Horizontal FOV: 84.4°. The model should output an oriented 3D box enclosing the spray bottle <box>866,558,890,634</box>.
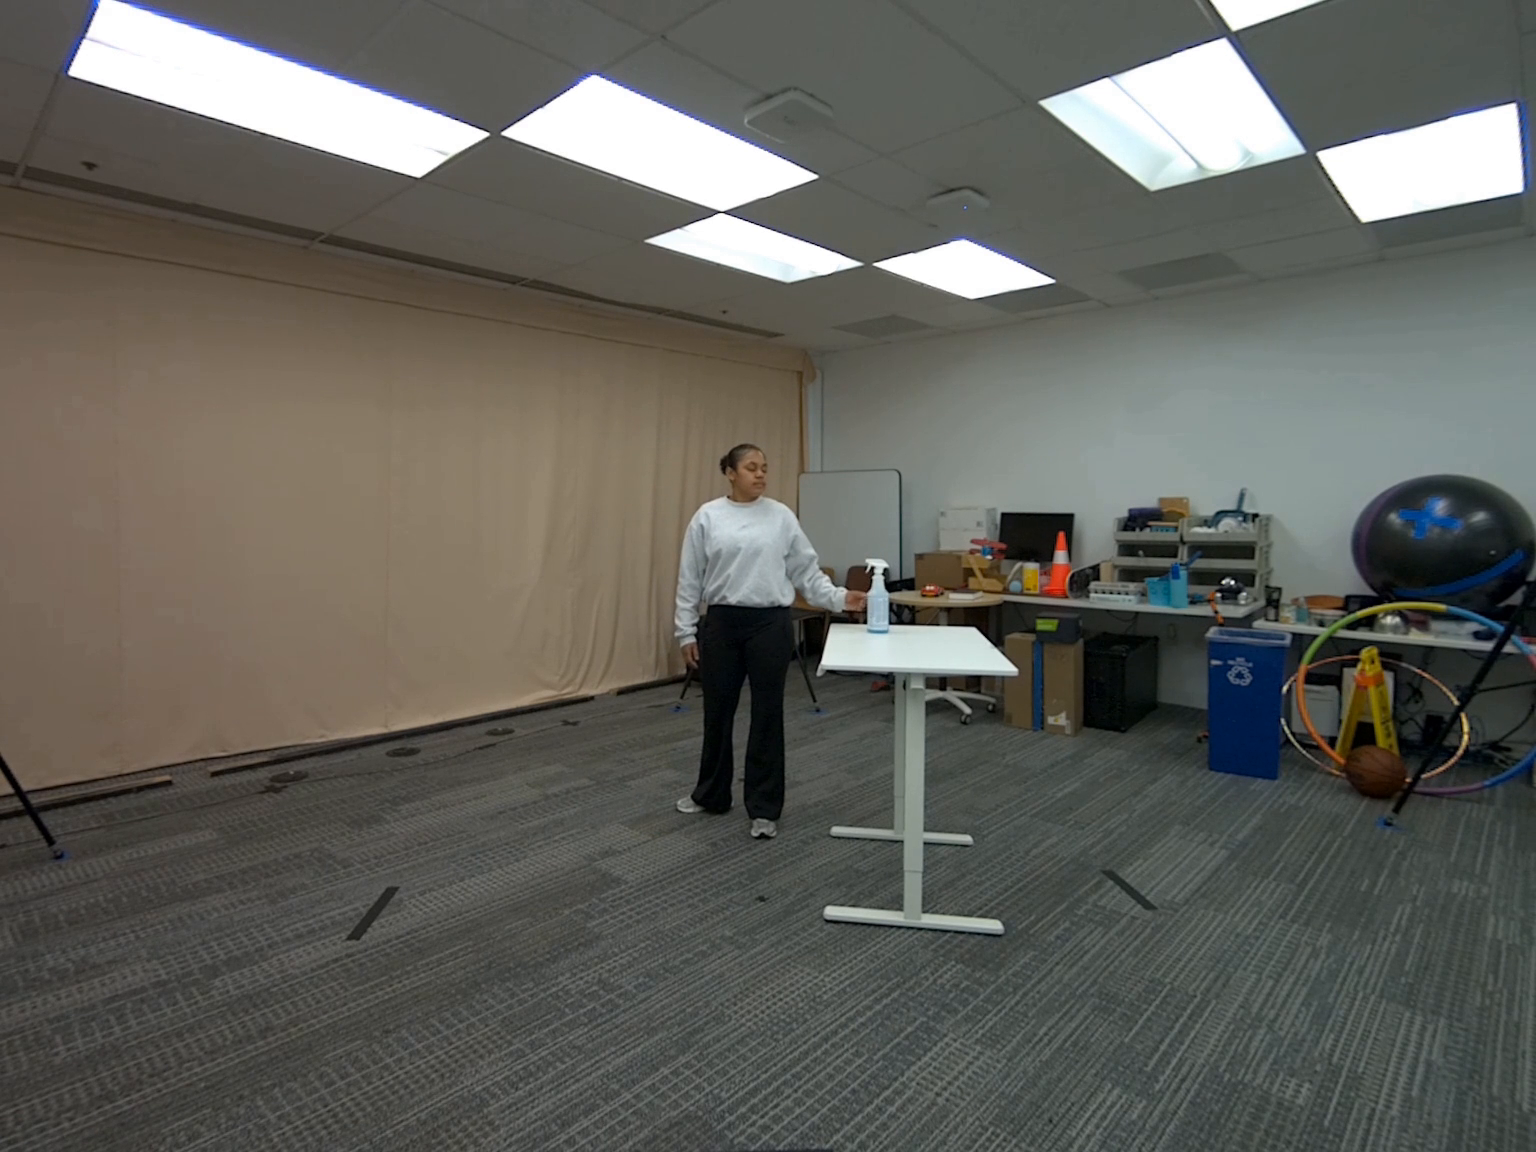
[{"bbox_3d":[0.450,0.081,3.399,0.092,0.296,0.085,1,5,20],"label":"spray bottle"}]
